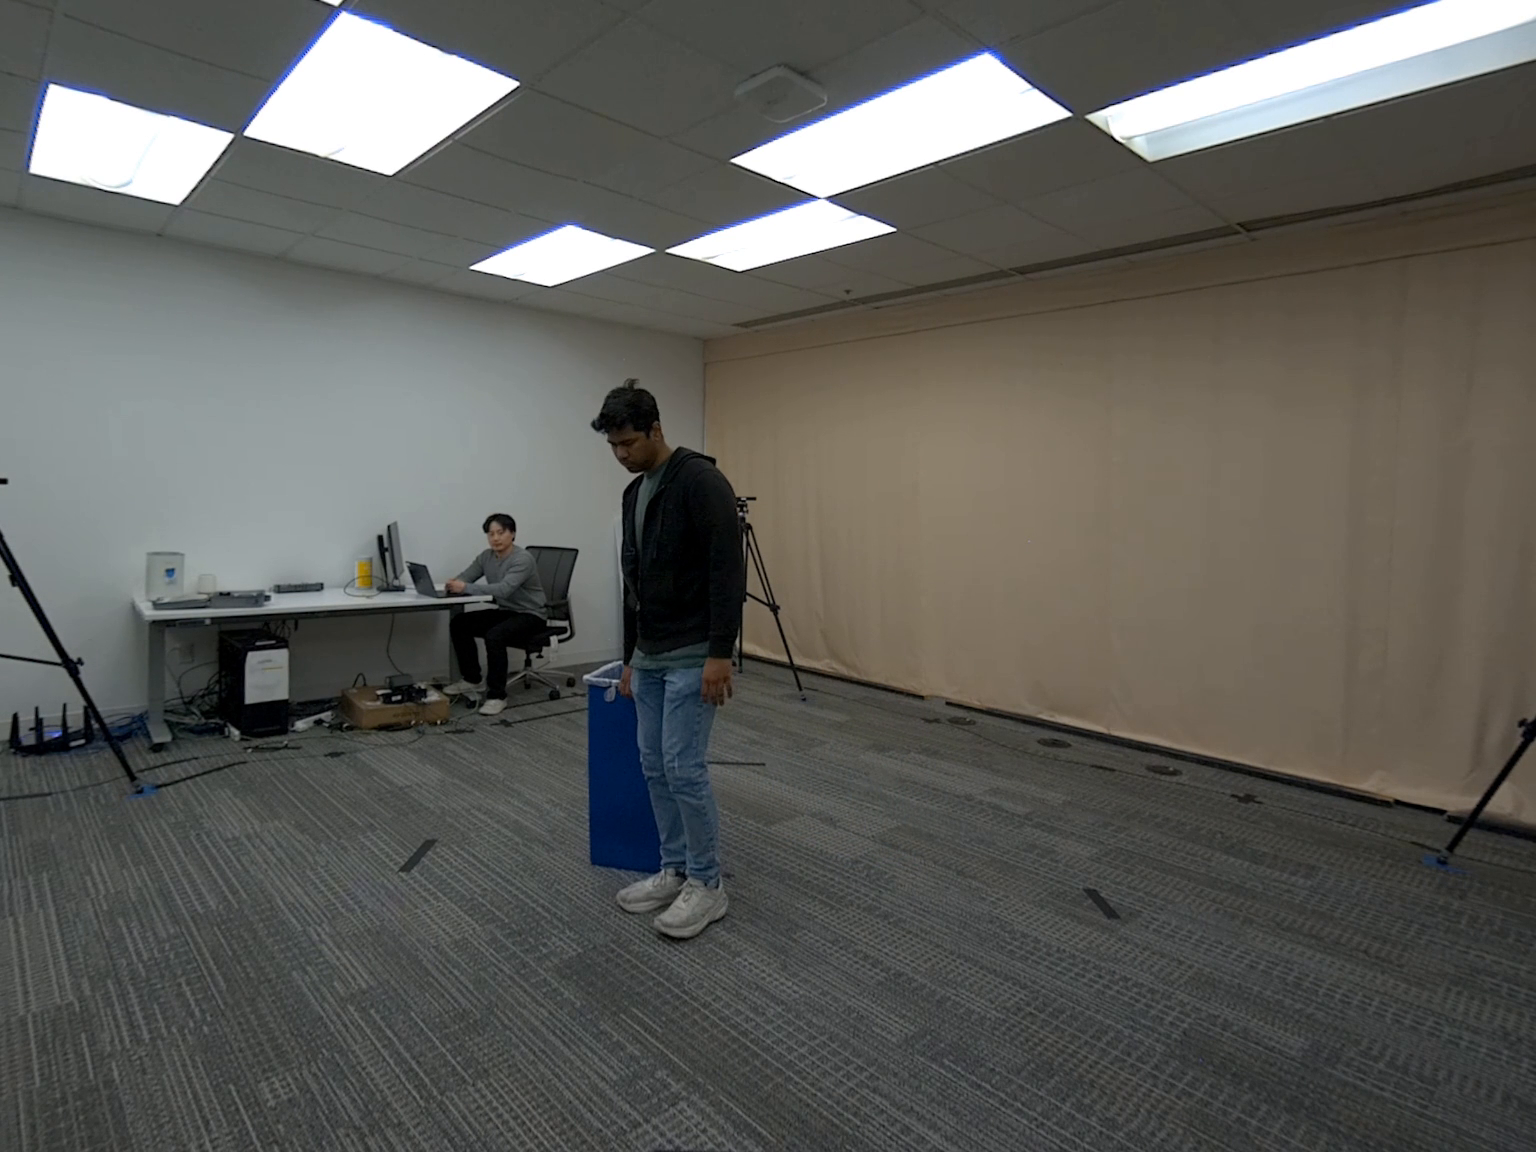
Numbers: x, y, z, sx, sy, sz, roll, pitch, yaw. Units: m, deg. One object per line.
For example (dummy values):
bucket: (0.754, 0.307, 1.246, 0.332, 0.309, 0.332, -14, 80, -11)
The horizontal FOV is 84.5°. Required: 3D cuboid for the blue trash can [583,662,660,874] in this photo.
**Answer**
blue trash can: (-0.490, 0.727, 3.263, 0.378, 0.712, 0.374, 2, 3, 14)
